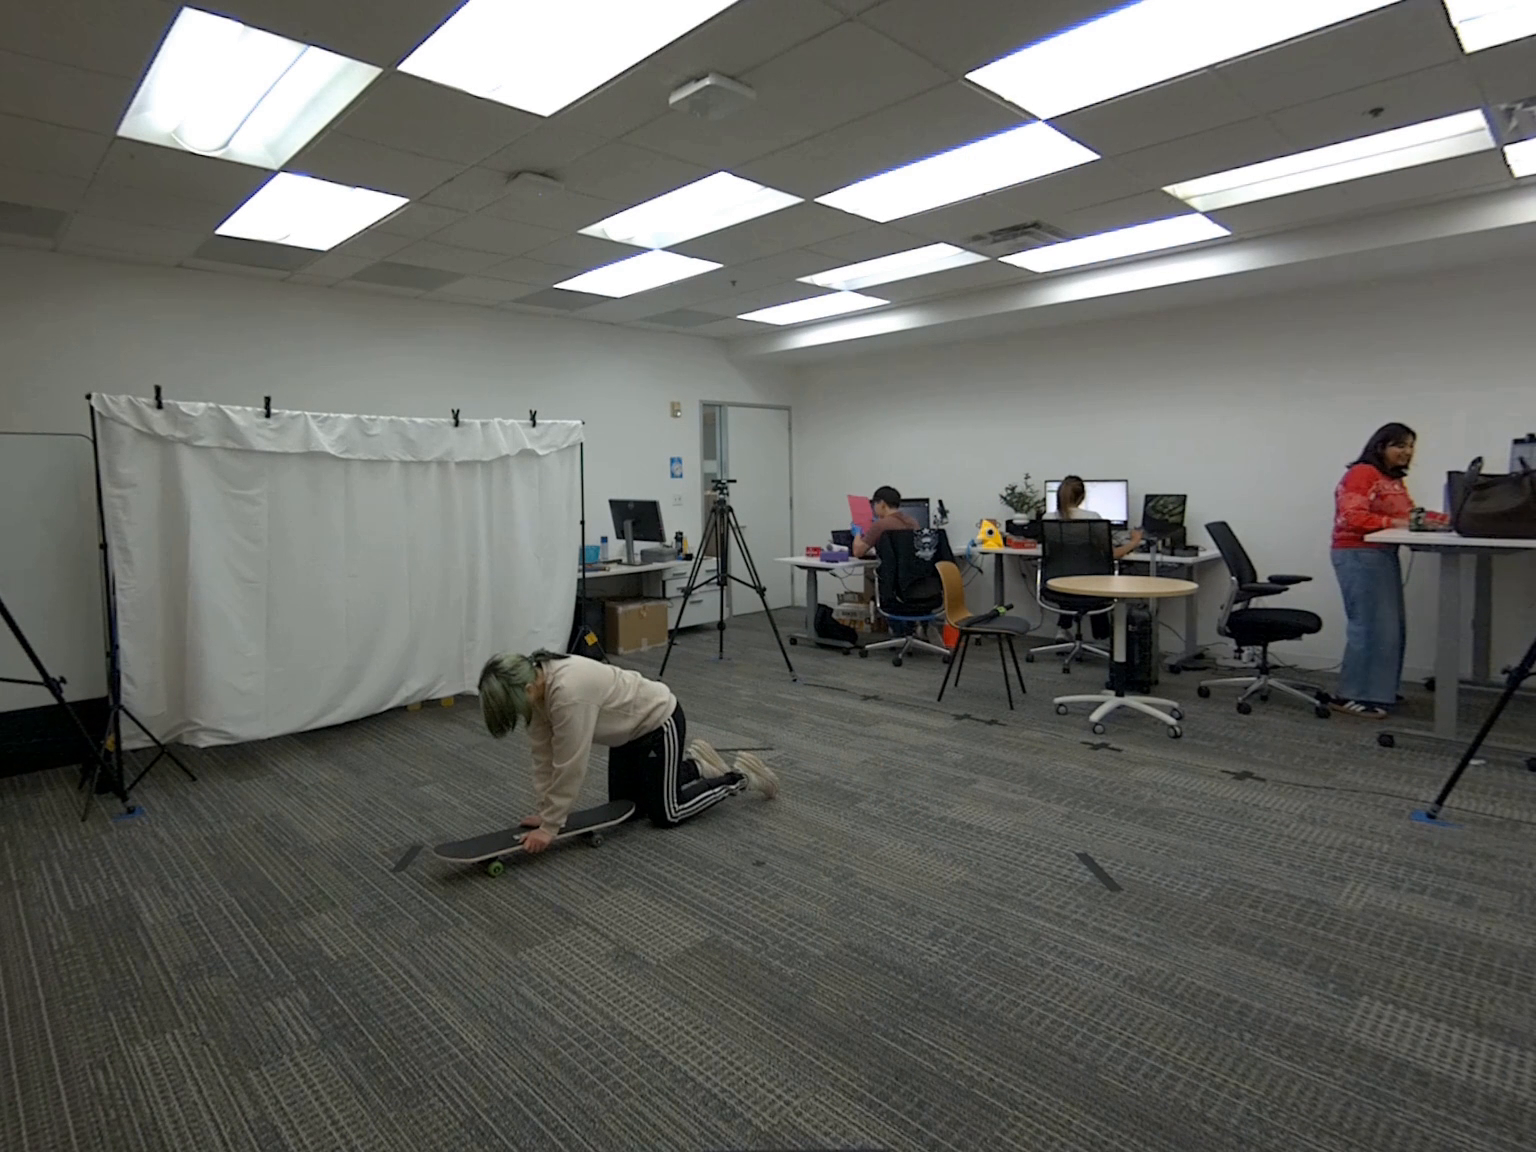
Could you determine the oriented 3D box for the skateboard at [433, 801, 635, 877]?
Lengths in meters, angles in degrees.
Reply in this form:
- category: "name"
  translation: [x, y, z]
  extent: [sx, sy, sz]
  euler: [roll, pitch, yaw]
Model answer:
- category: "skateboard"
  translation: [-0.861, 0.995, 3.231]
  extent: [0.766, 0.110, 0.199]
  euler: [-5, 5, -33]
